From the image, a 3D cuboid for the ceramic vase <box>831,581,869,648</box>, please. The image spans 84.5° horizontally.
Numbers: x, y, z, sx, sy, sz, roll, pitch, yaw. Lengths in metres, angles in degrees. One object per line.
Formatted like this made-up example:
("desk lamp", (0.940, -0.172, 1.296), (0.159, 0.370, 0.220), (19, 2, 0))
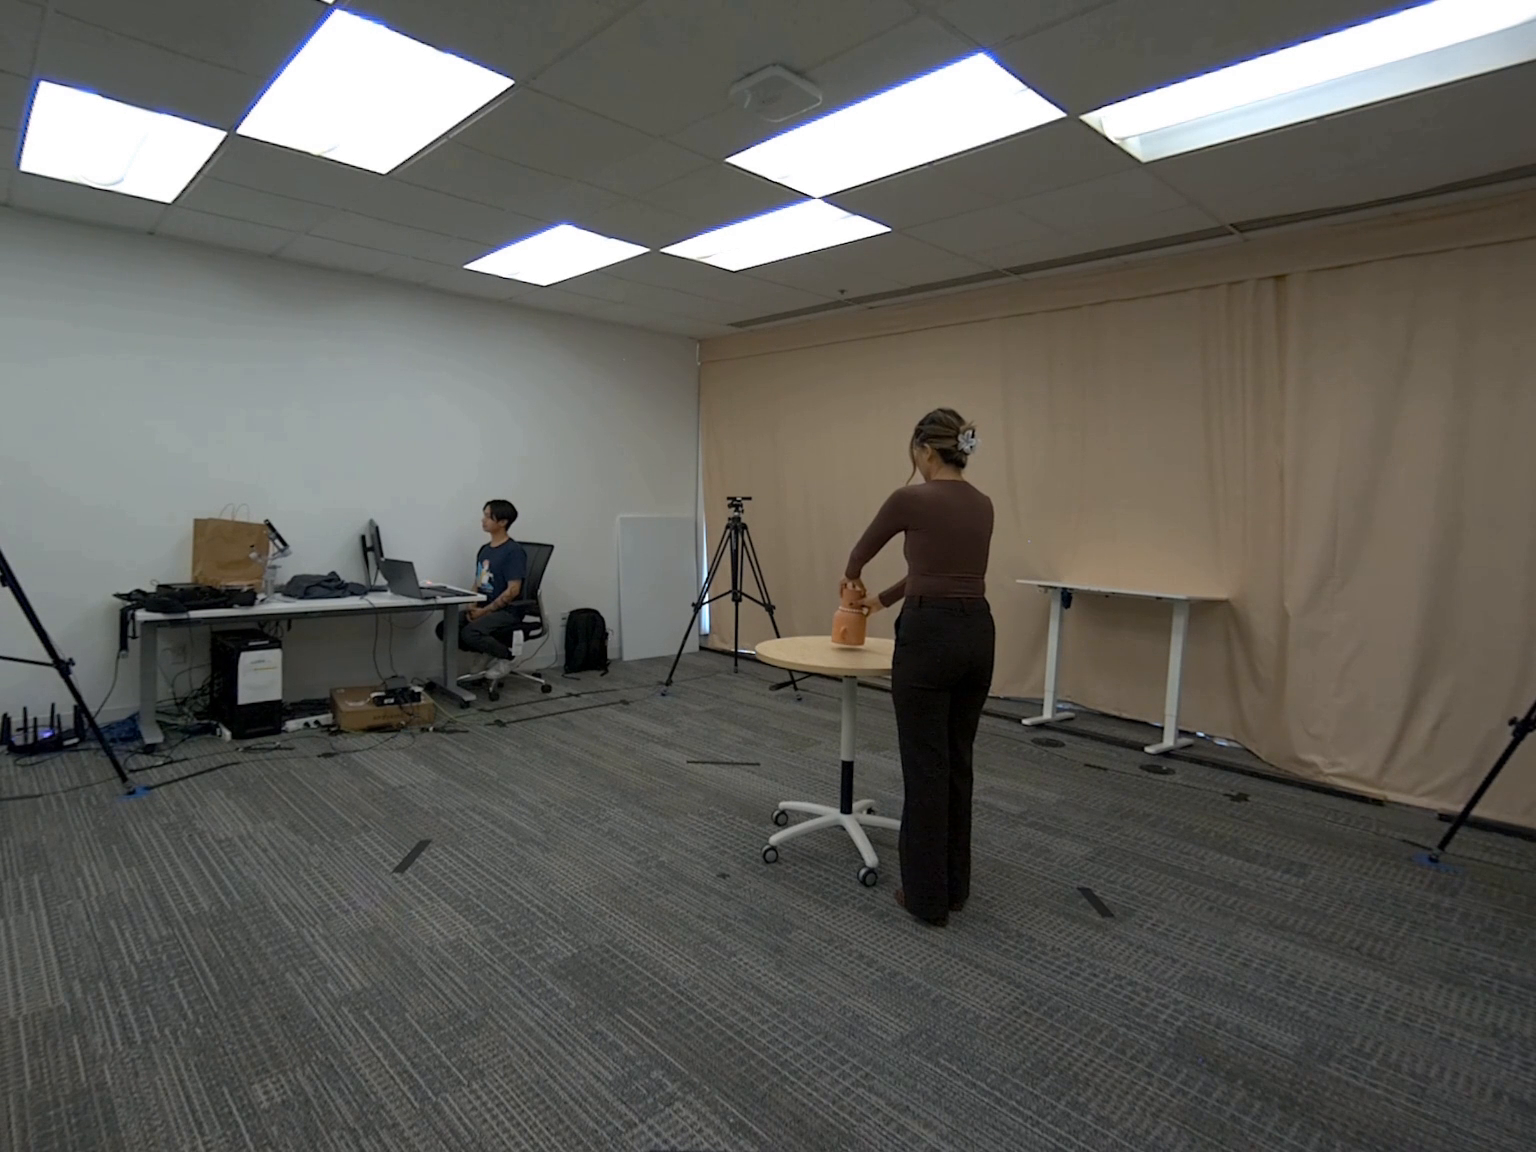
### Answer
("ceramic vase", (0.324, 0.161, 3.376), (0.133, 0.219, 0.161), (4, 5, -16))
